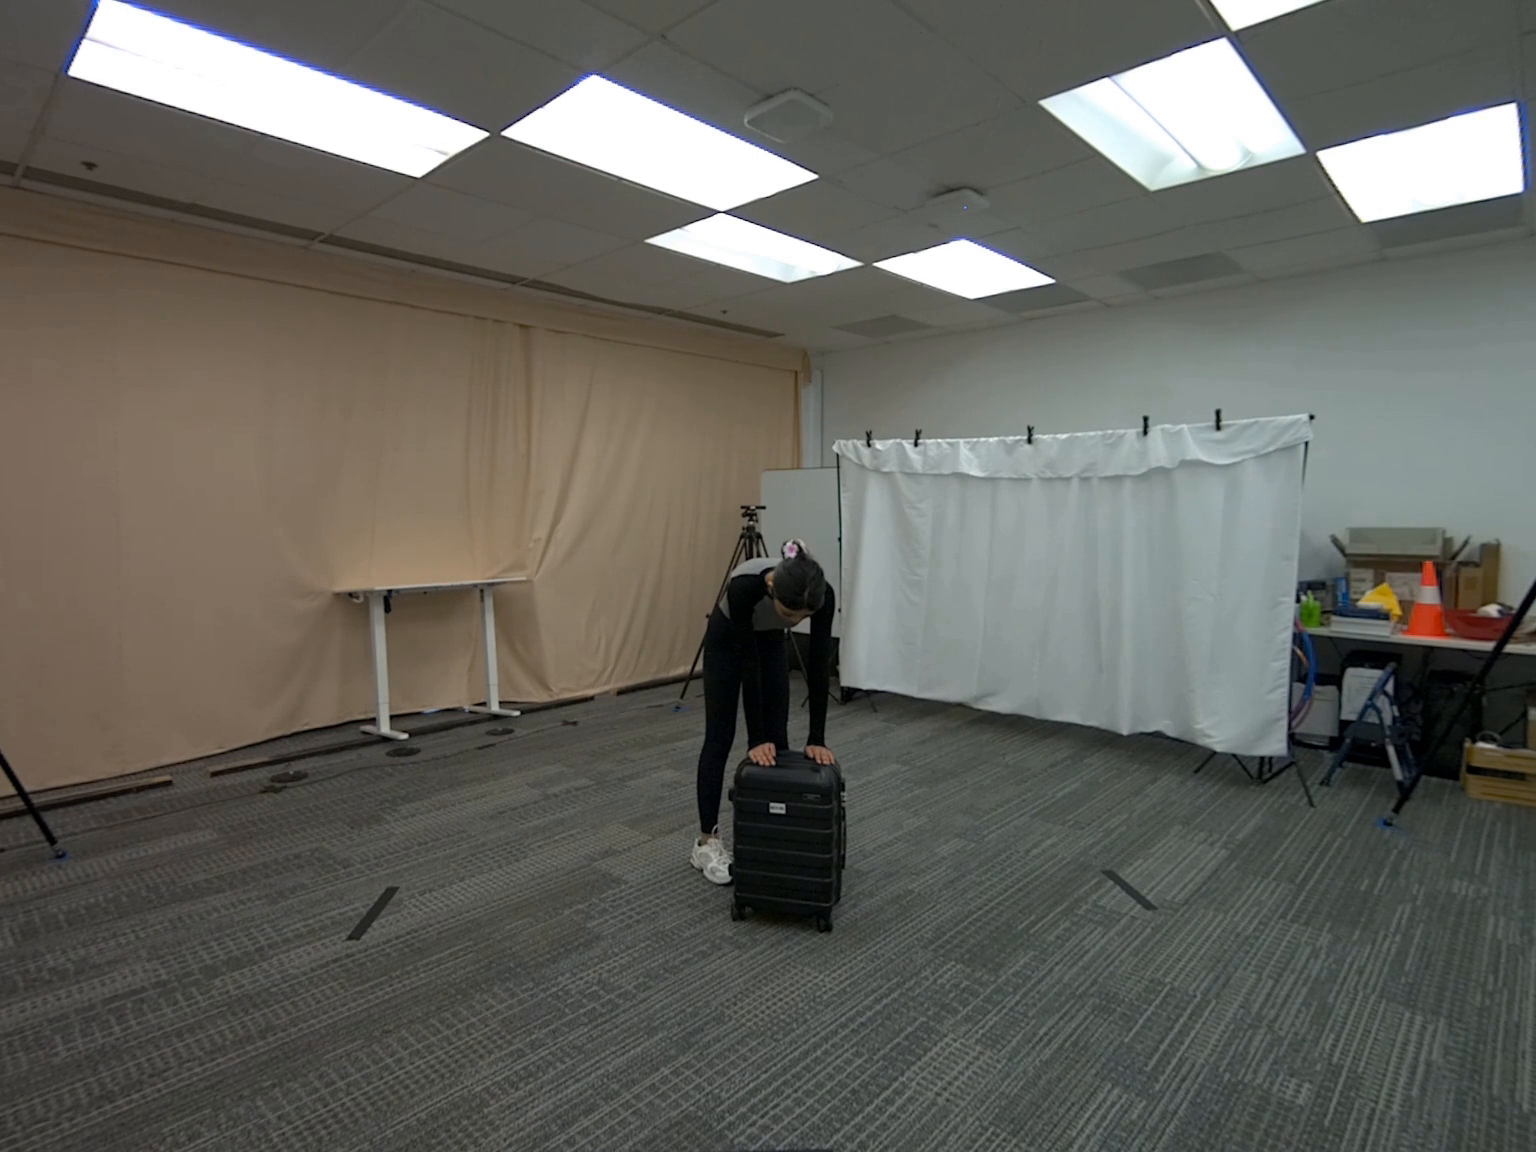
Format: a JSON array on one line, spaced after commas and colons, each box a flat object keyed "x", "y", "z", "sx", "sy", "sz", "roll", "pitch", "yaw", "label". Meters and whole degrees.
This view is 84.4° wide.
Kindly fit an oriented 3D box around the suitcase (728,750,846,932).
[{"x": 0.074, "y": 0.878, "z": 2.865, "sx": 0.382, "sy": 0.547, "sz": 0.245, "roll": 1, "pitch": 5, "yaw": 16, "label": "suitcase"}]
